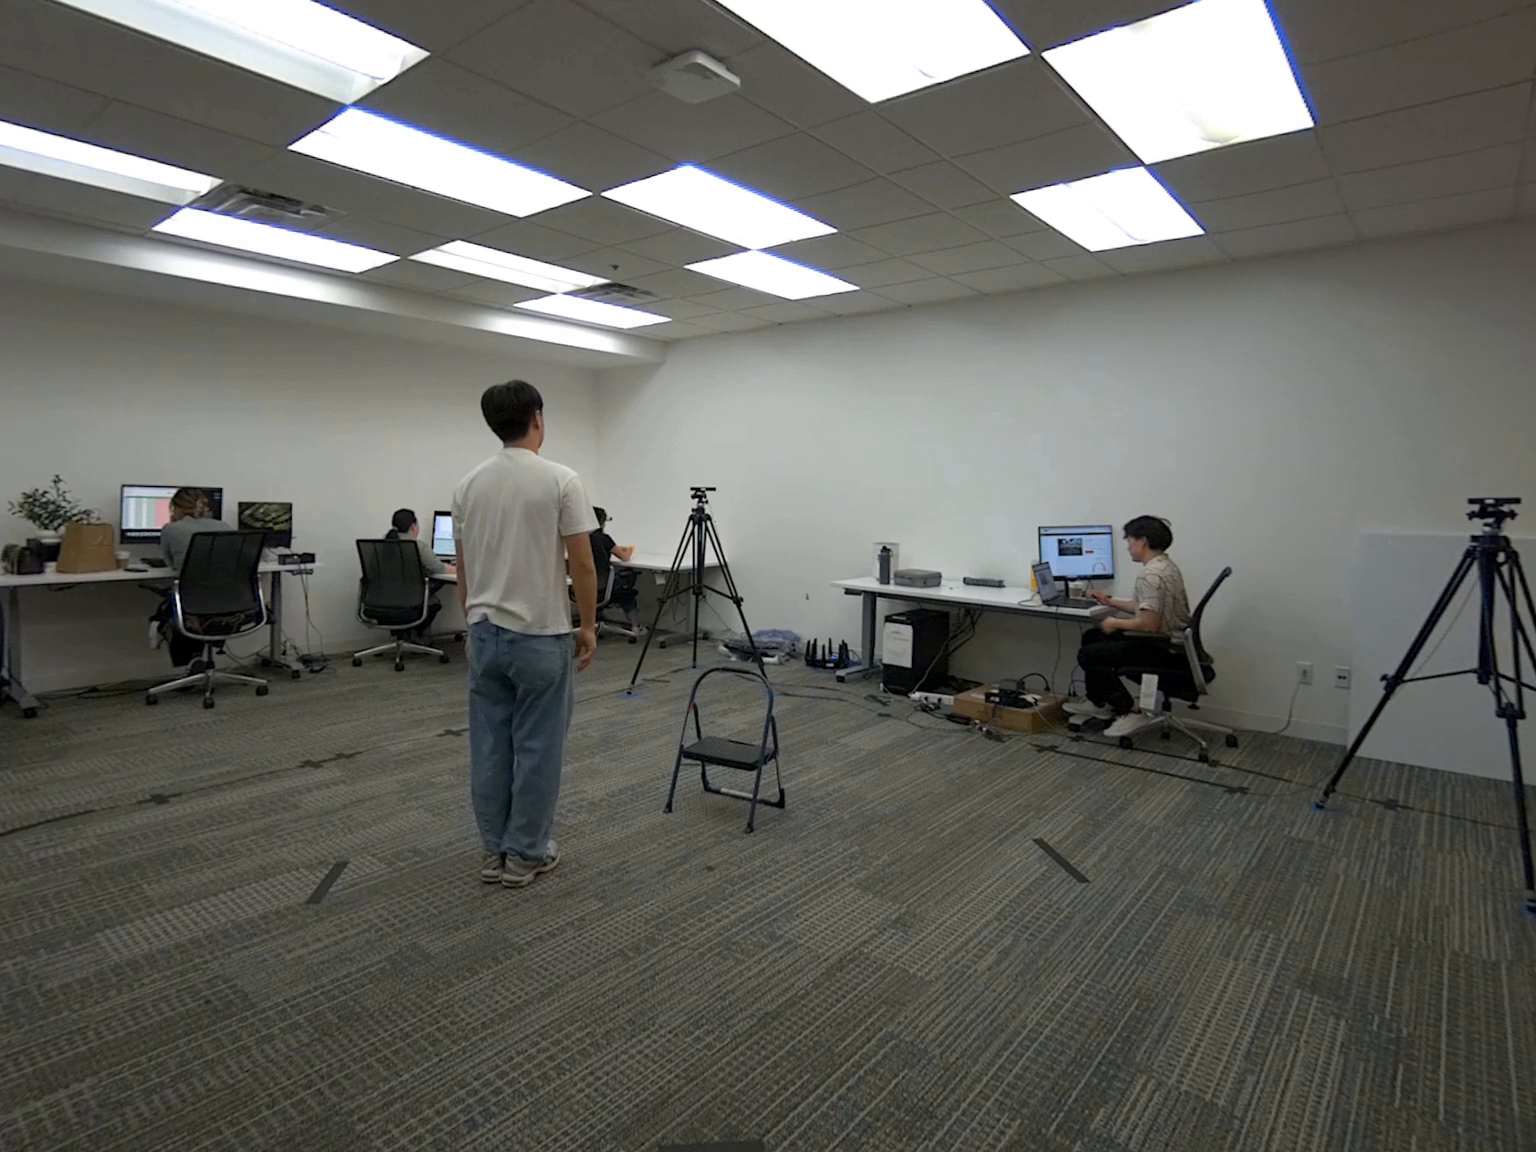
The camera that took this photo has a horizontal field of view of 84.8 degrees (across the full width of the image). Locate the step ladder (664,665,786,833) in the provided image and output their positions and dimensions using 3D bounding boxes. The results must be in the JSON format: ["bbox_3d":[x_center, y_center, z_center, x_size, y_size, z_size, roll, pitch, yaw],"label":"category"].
[{"bbox_3d":[-0.183,0.708,3.676,0.443,0.604,0.340,3,4,28],"label":"step ladder"}]
